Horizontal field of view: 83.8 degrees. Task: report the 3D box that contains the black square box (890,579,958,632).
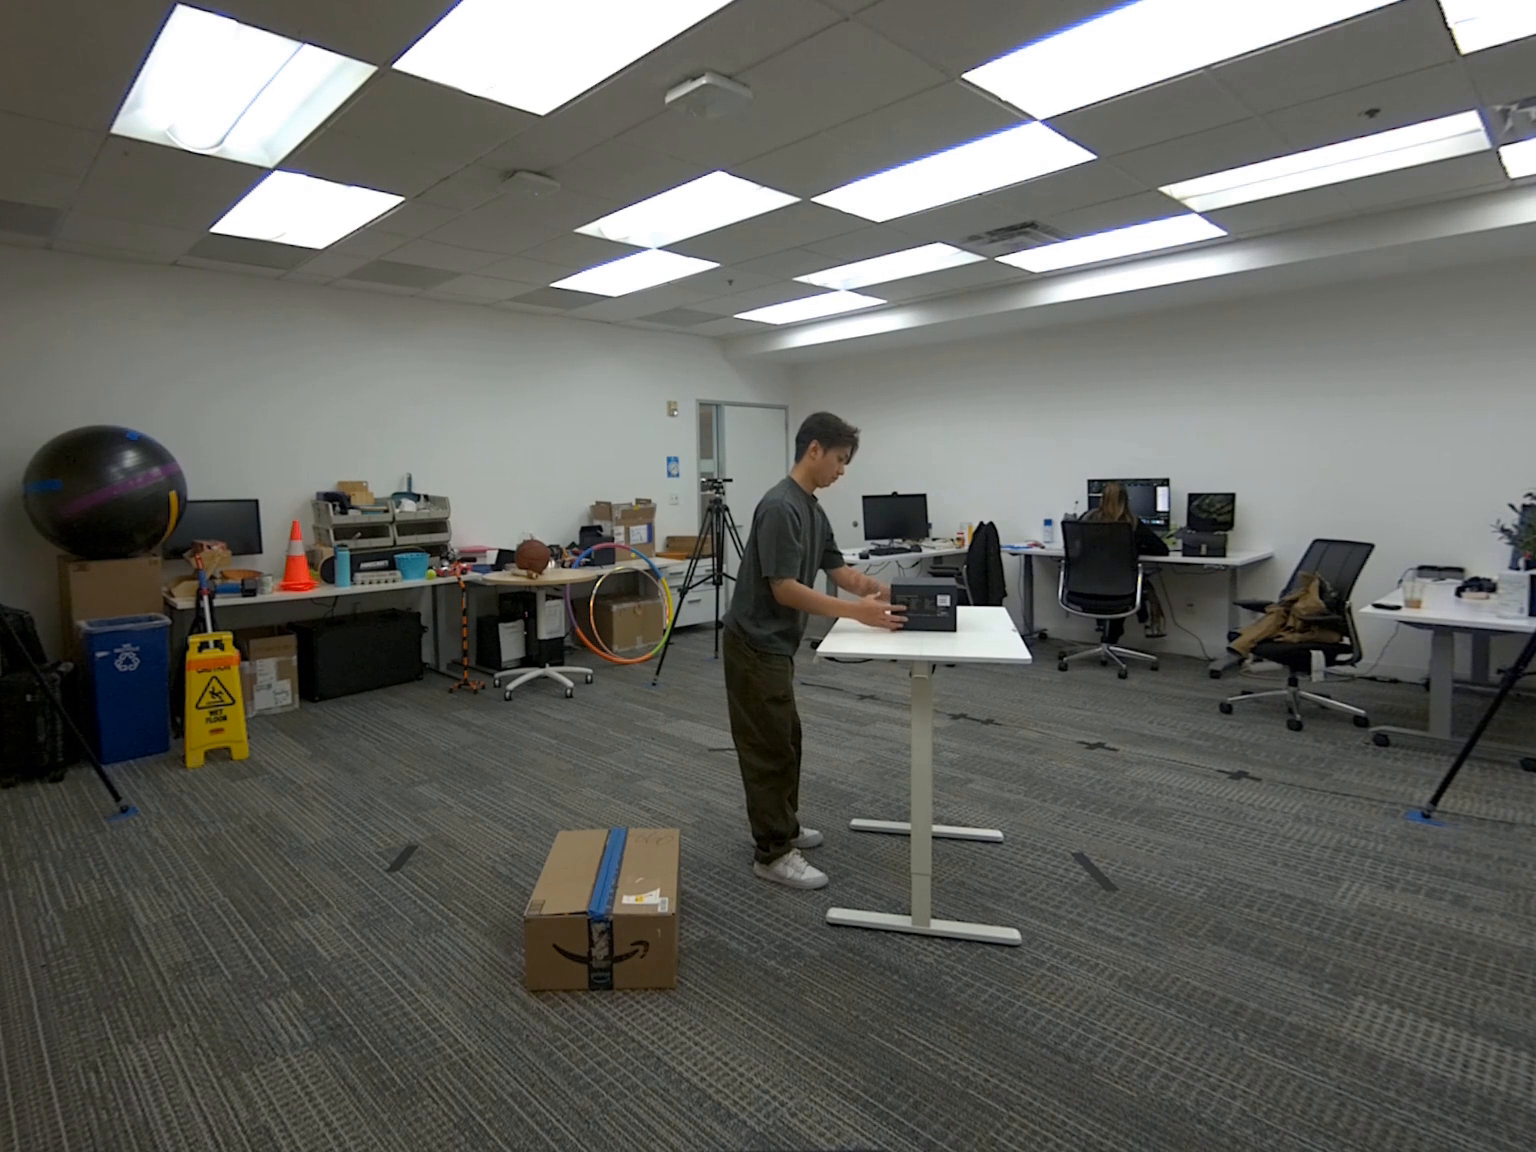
[{"bbox_3d":[0.536,0.090,2.927,0.220,0.155,0.225,0,4,13],"label":"black square box"}]
